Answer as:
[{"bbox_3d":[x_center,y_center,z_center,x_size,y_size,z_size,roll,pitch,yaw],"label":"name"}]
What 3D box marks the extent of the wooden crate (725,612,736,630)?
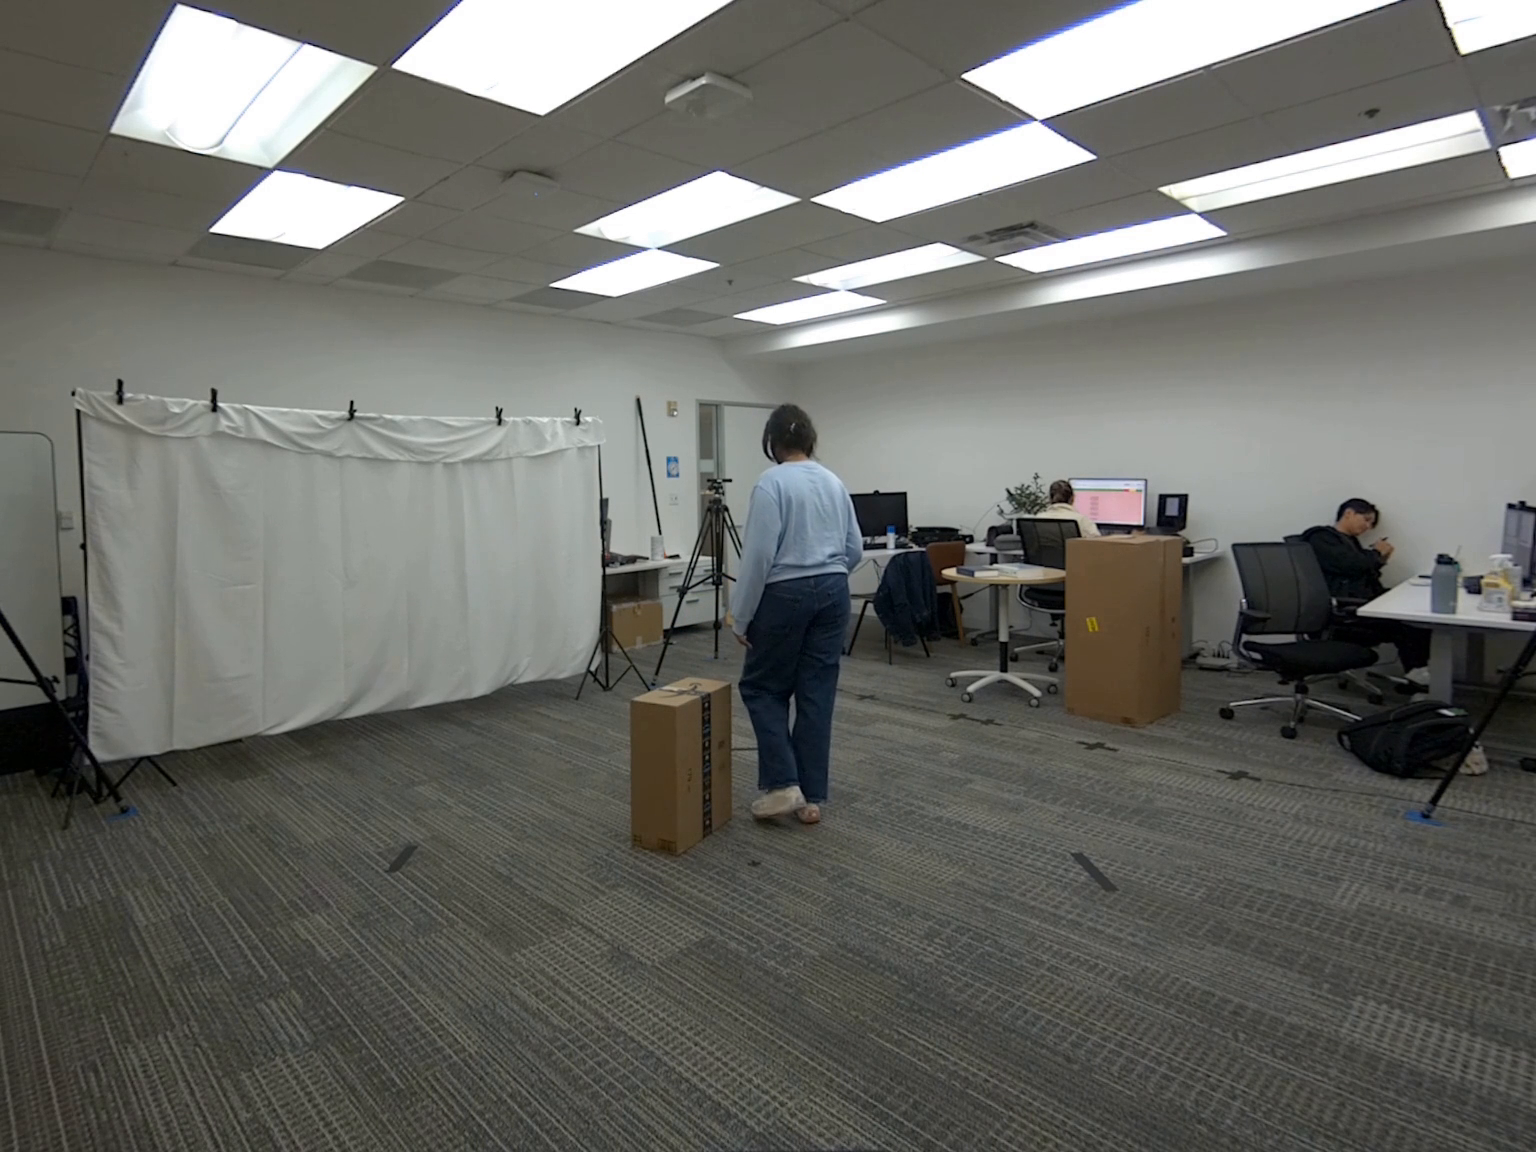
[{"bbox_3d":[0.028,0.108,3.895,0.316,0.272,0.312,1,10,-35],"label":"wooden crate"}]
